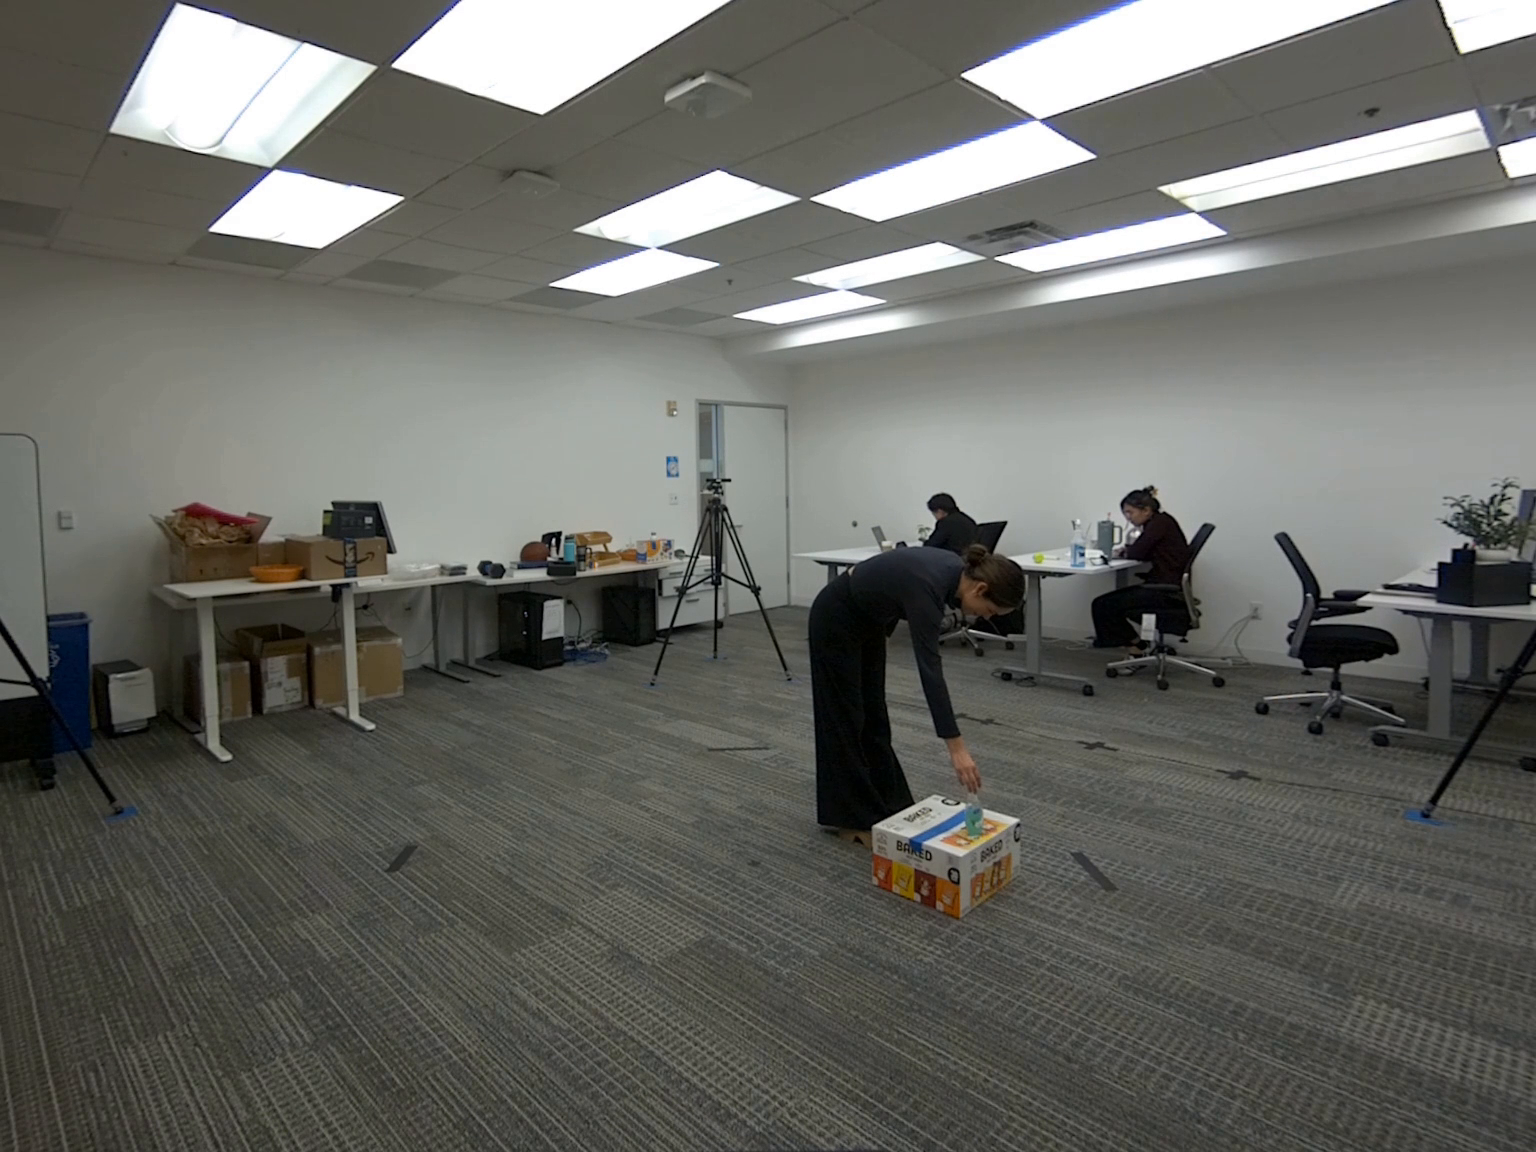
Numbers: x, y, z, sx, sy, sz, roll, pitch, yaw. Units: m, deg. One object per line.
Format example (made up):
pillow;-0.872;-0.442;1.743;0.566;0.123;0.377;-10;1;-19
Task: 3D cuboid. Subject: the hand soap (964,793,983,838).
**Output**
hand soap;0.693;0.777;2.866;0.082;0.169;0.044;-5;-3;-35
